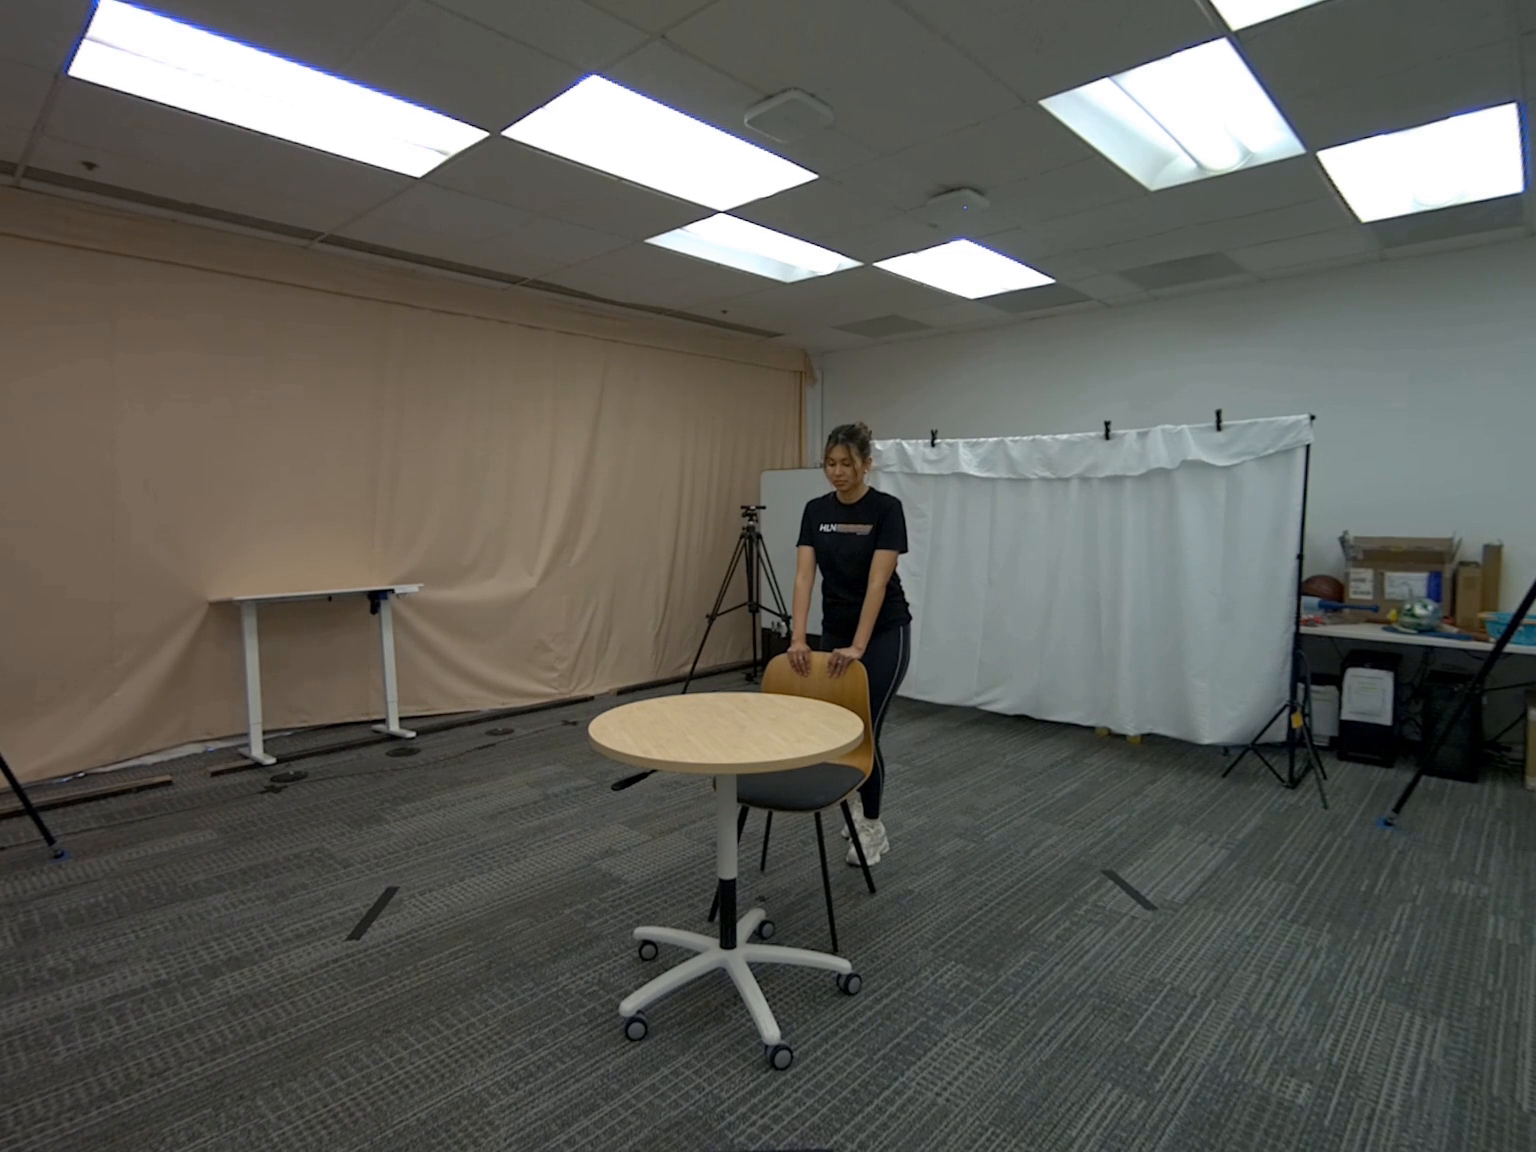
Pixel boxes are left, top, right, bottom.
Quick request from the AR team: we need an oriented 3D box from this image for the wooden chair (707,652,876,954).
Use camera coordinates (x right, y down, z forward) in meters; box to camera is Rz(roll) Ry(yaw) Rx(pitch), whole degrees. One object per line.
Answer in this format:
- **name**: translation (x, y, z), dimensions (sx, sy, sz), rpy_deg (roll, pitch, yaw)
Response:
- **wooden chair**: translation (0.094, 0.723, 2.883), dimensions (0.490, 0.877, 0.509), rpy_deg (1, 0, 25)
